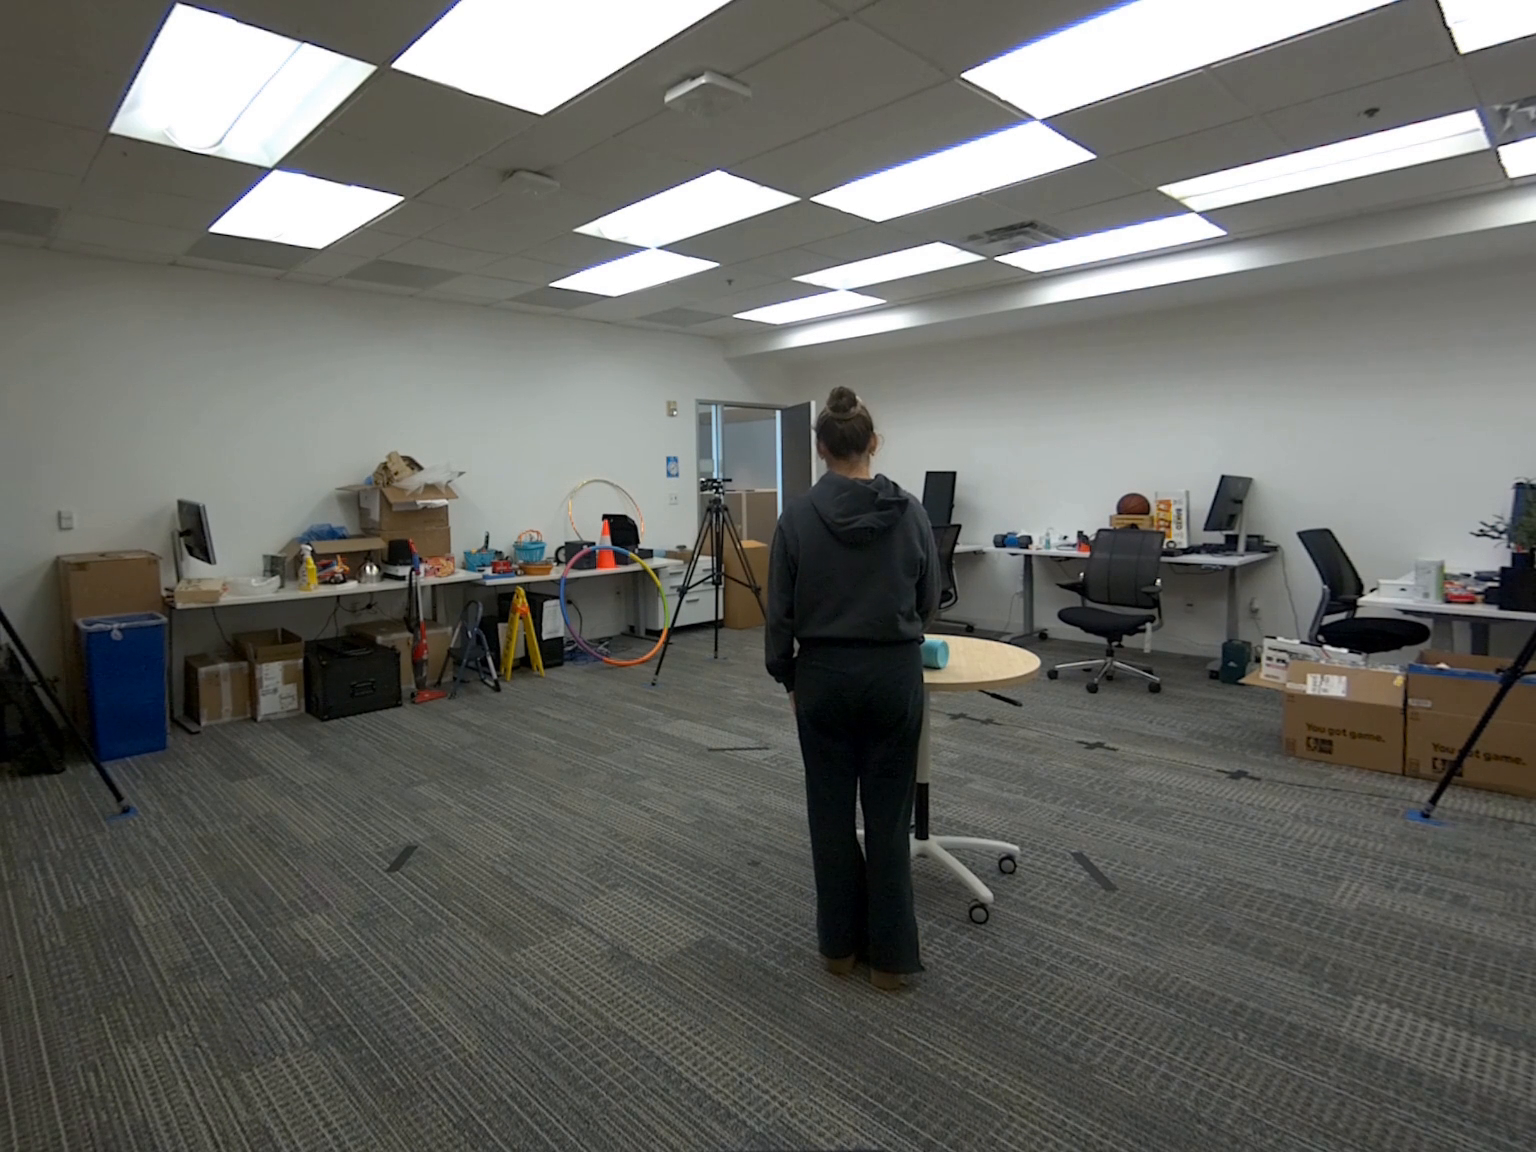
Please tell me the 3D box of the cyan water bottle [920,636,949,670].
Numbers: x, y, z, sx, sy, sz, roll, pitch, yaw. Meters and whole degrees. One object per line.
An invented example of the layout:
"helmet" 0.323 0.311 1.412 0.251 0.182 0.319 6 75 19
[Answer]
"cyan water bottle" 0.453 0.244 2.805 0.292 0.092 0.090 4 6 39
